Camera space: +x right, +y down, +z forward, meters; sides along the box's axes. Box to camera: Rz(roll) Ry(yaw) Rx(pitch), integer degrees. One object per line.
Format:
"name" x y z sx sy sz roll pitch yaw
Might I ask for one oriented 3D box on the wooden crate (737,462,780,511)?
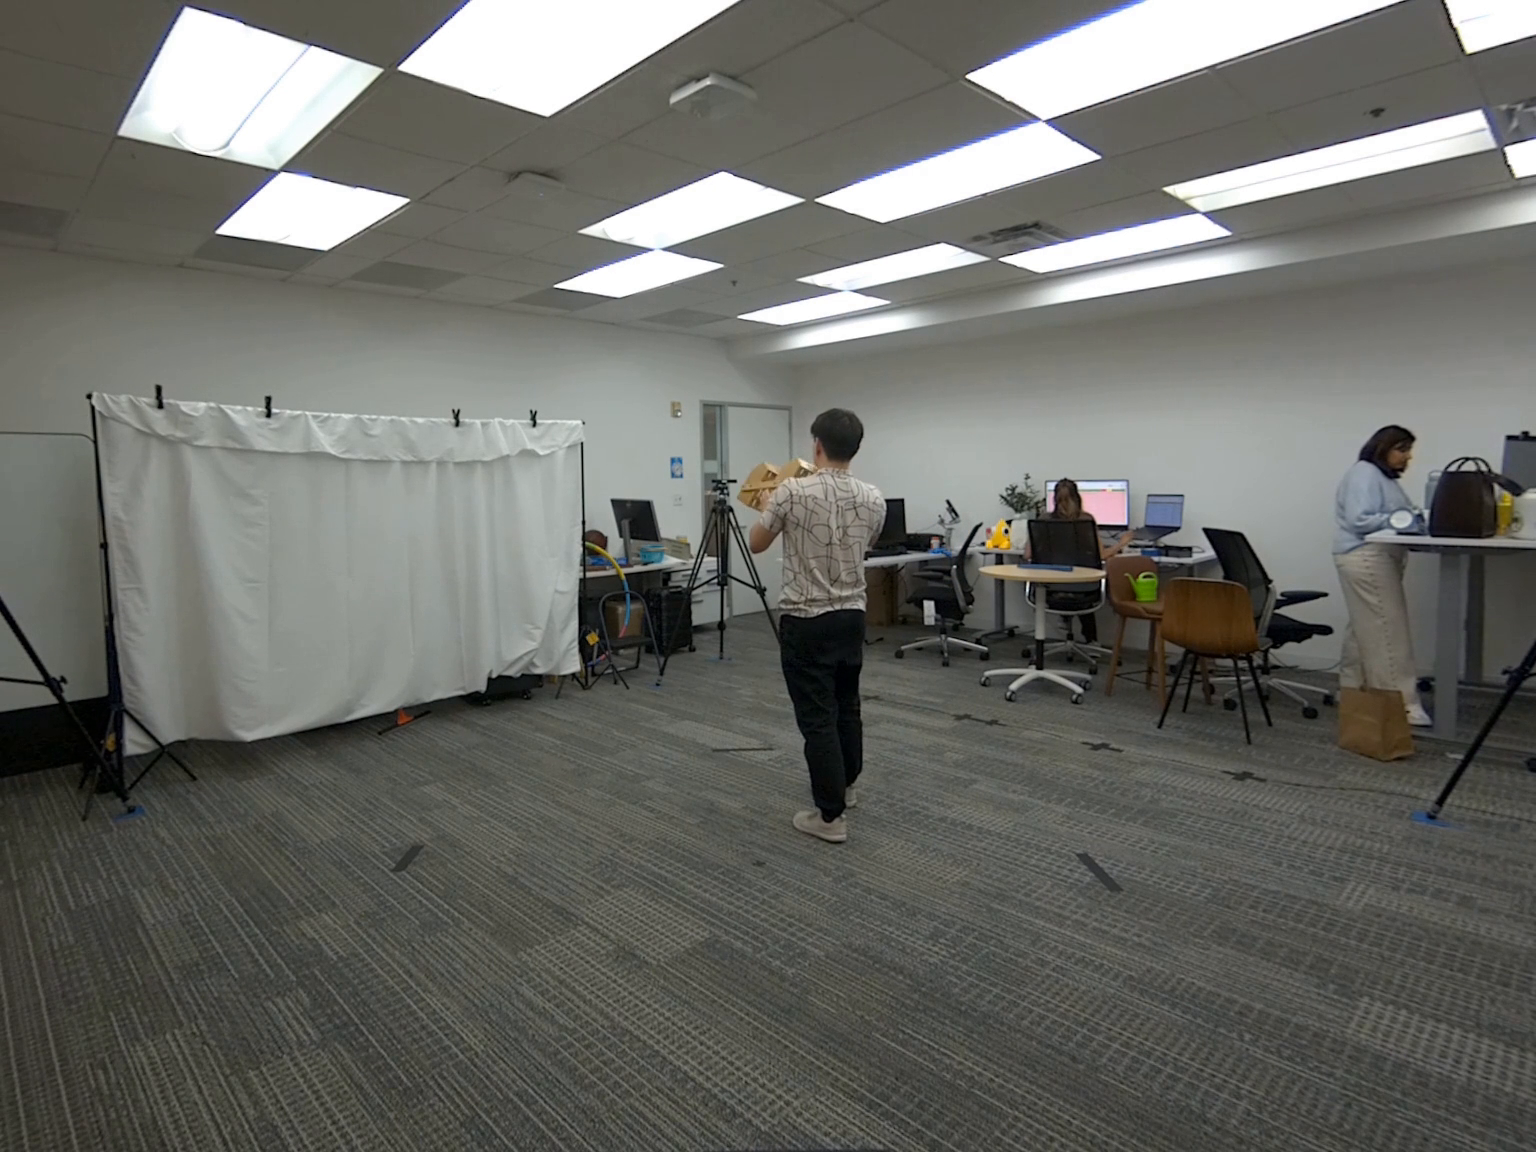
"wooden crate" 0.108 -0.384 3.821 0.313 0.301 0.284 20 13 -41
